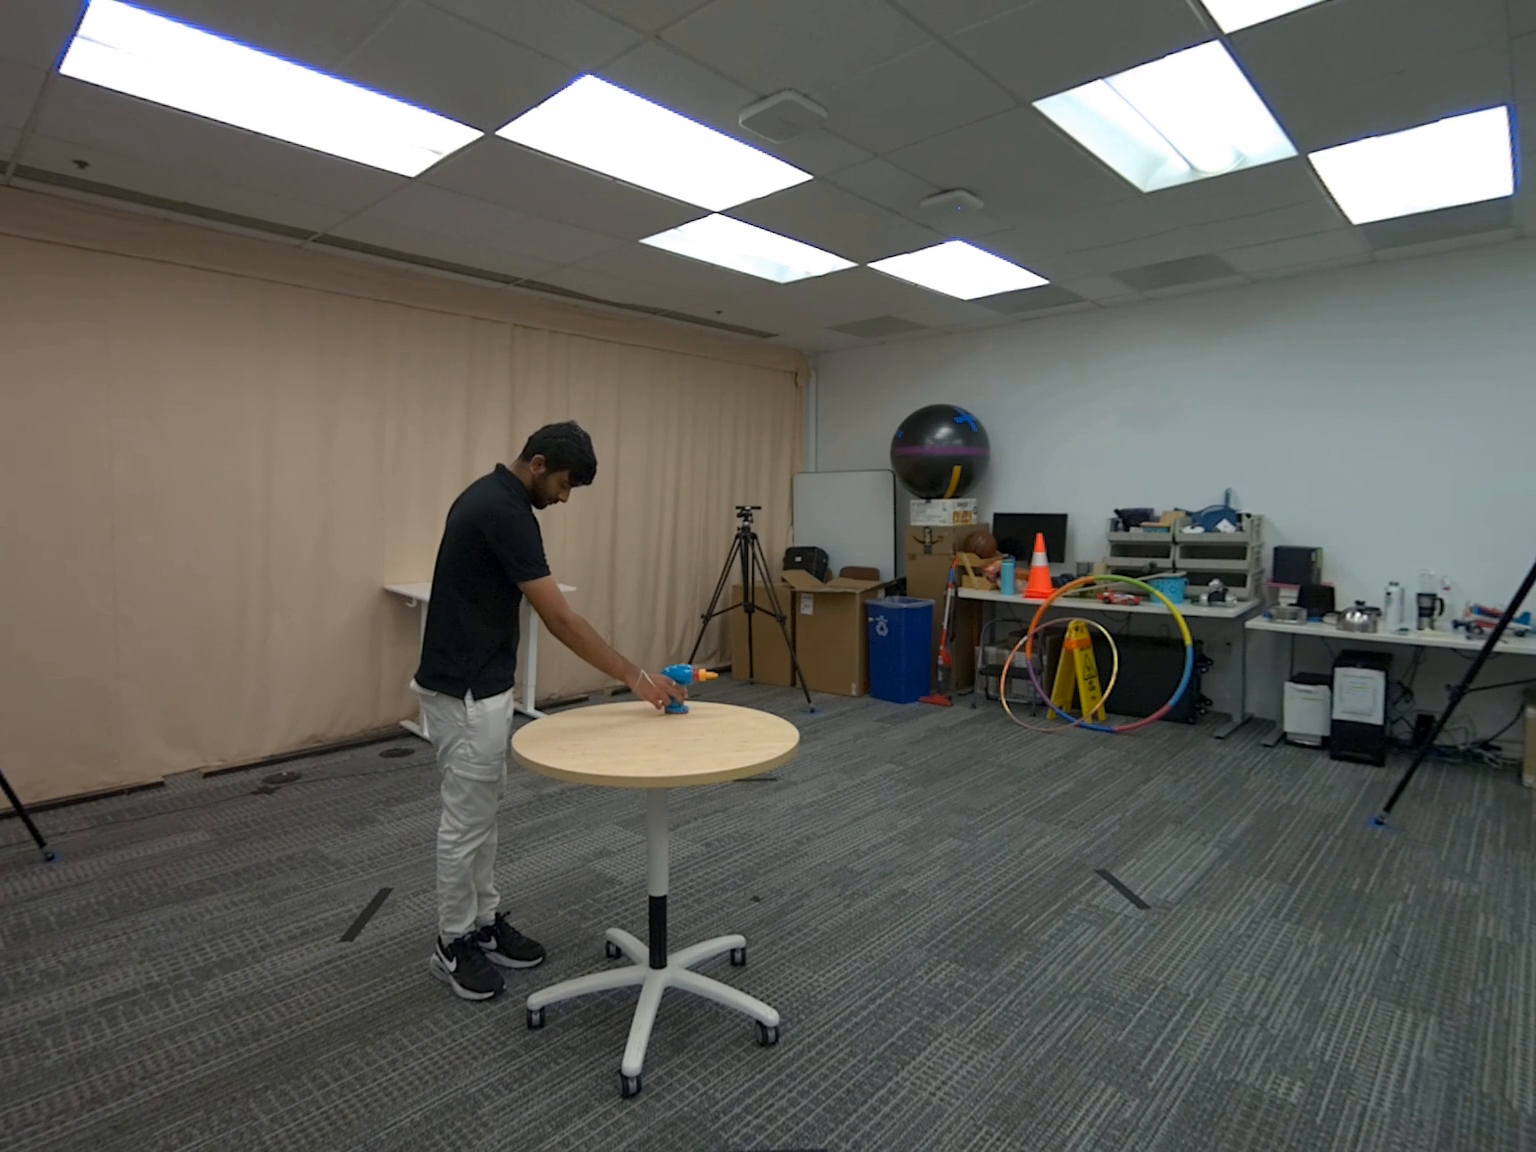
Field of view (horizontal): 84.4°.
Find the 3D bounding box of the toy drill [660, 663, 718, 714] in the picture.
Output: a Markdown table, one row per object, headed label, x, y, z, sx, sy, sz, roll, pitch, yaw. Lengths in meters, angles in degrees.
| label | x | y | z | sx | sy | sz | roll | pitch | yaw |
| --- | --- | --- | --- | --- | --- | --- | --- | --- | --- |
| toy drill | -0.240 | 0.336 | 2.481 | 0.170 | 0.146 | 0.061 | 0 | 3 | 0 |
